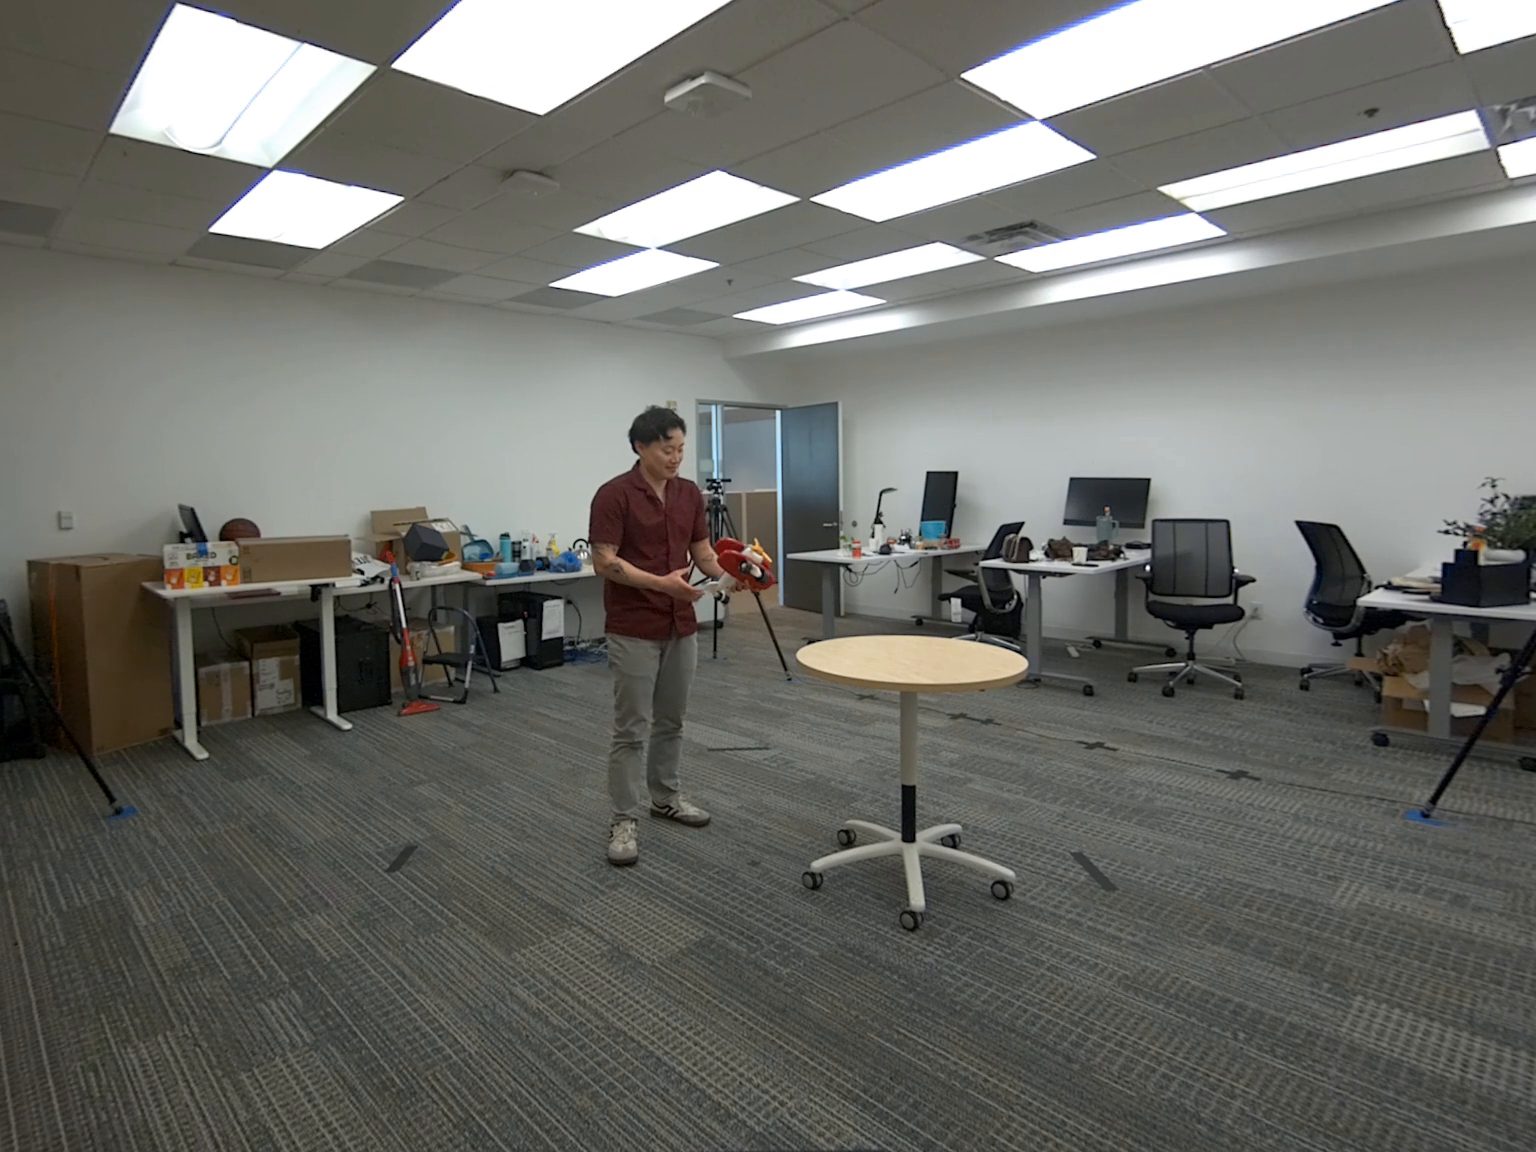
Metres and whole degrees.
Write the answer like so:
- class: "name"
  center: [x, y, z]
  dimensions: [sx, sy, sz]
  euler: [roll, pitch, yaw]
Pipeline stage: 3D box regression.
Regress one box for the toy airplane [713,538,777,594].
- class: "toy airplane"
  center: [-0.129, -0.029, 3.152]
  dimensions: [0.261, 0.161, 0.242]
  euler: [-14, -44, 12]
